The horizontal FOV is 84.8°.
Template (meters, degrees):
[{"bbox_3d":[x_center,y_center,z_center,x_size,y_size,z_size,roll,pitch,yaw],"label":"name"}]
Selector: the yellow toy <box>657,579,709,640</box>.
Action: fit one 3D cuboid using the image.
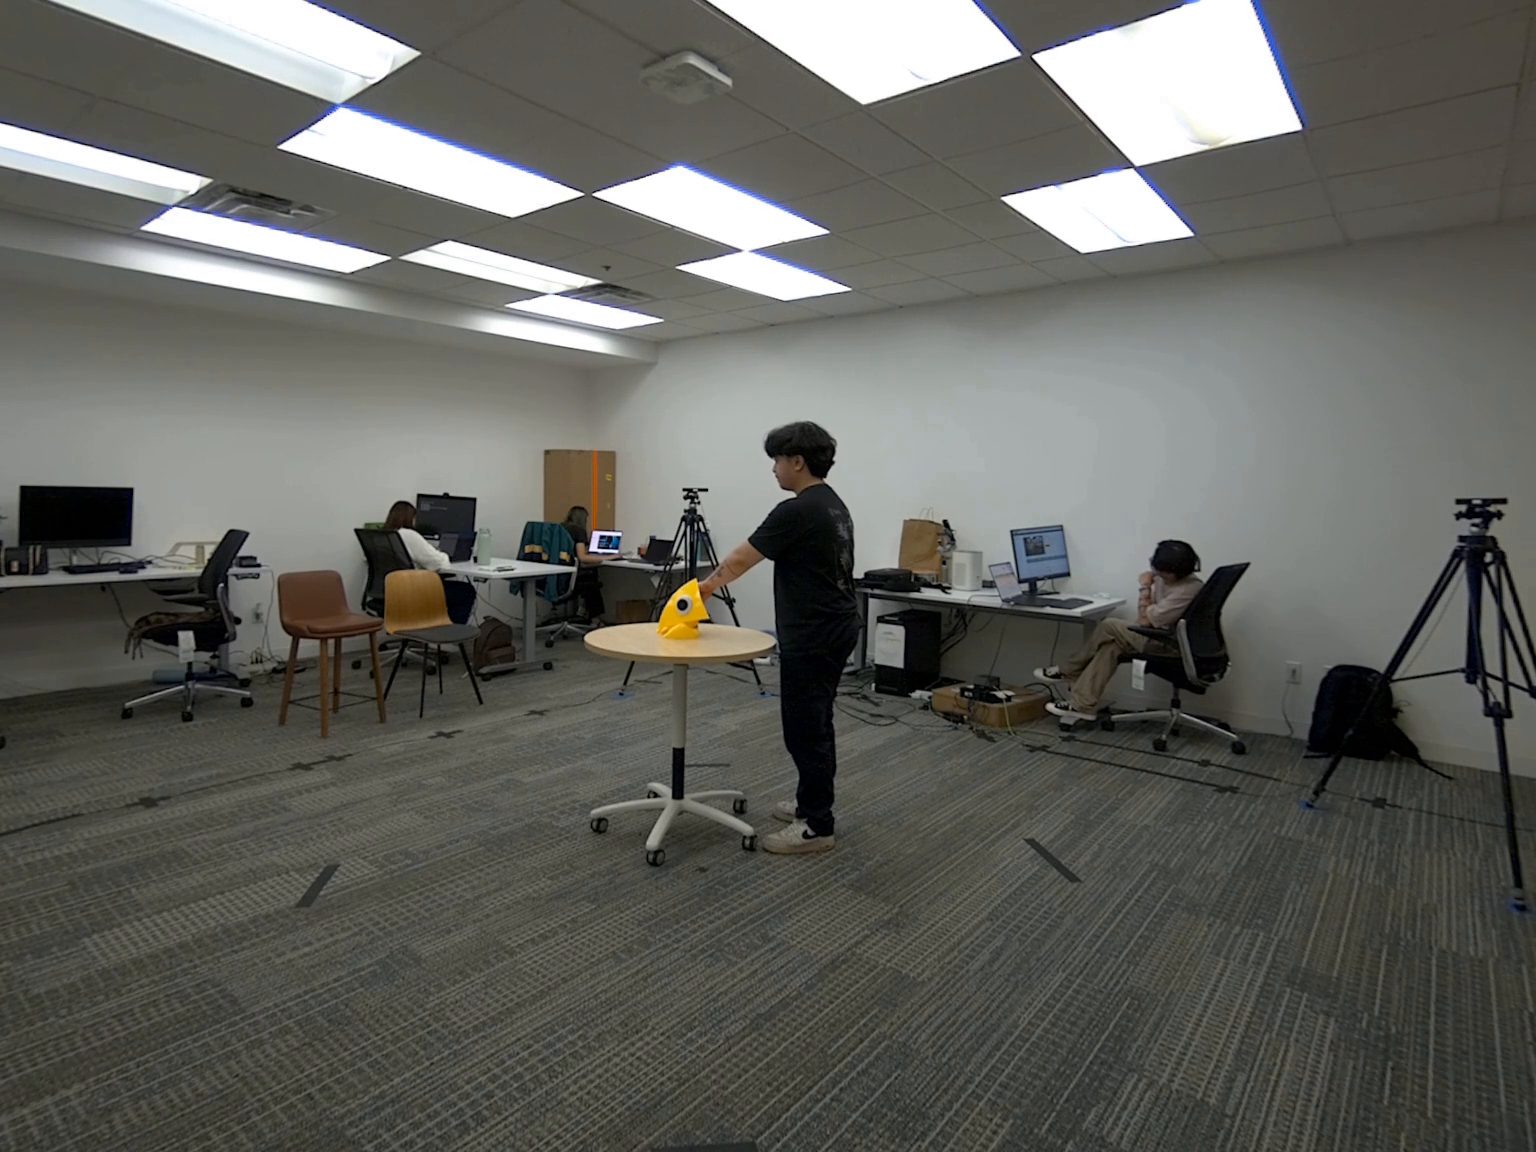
[{"bbox_3d":[-0.366,0.122,3.485,0.189,0.230,0.209,0,5,-18],"label":"yellow toy"}]
